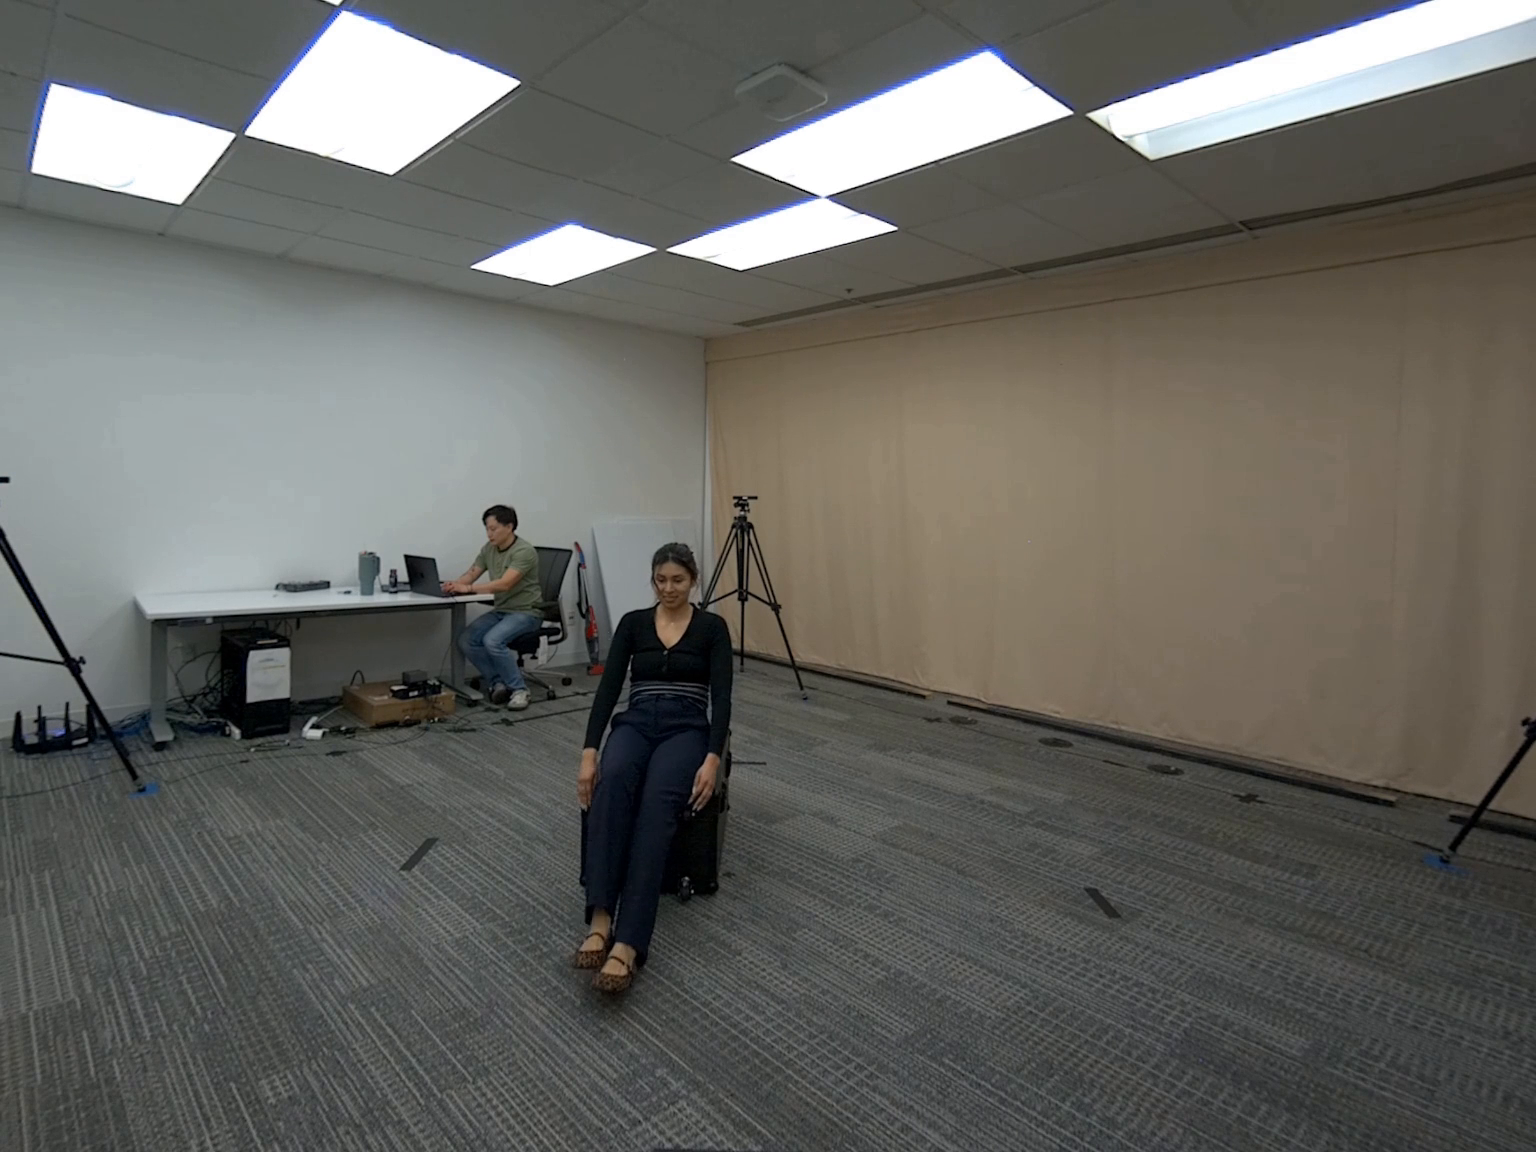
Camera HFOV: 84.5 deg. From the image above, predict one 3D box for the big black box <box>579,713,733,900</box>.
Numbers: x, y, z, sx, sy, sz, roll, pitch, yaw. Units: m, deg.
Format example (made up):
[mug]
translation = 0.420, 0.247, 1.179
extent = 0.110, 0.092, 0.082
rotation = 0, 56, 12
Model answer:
[big black box]
translation = -0.419, 0.888, 3.276
extent = 0.522, 0.395, 0.863
rotation = 2, 5, 0
